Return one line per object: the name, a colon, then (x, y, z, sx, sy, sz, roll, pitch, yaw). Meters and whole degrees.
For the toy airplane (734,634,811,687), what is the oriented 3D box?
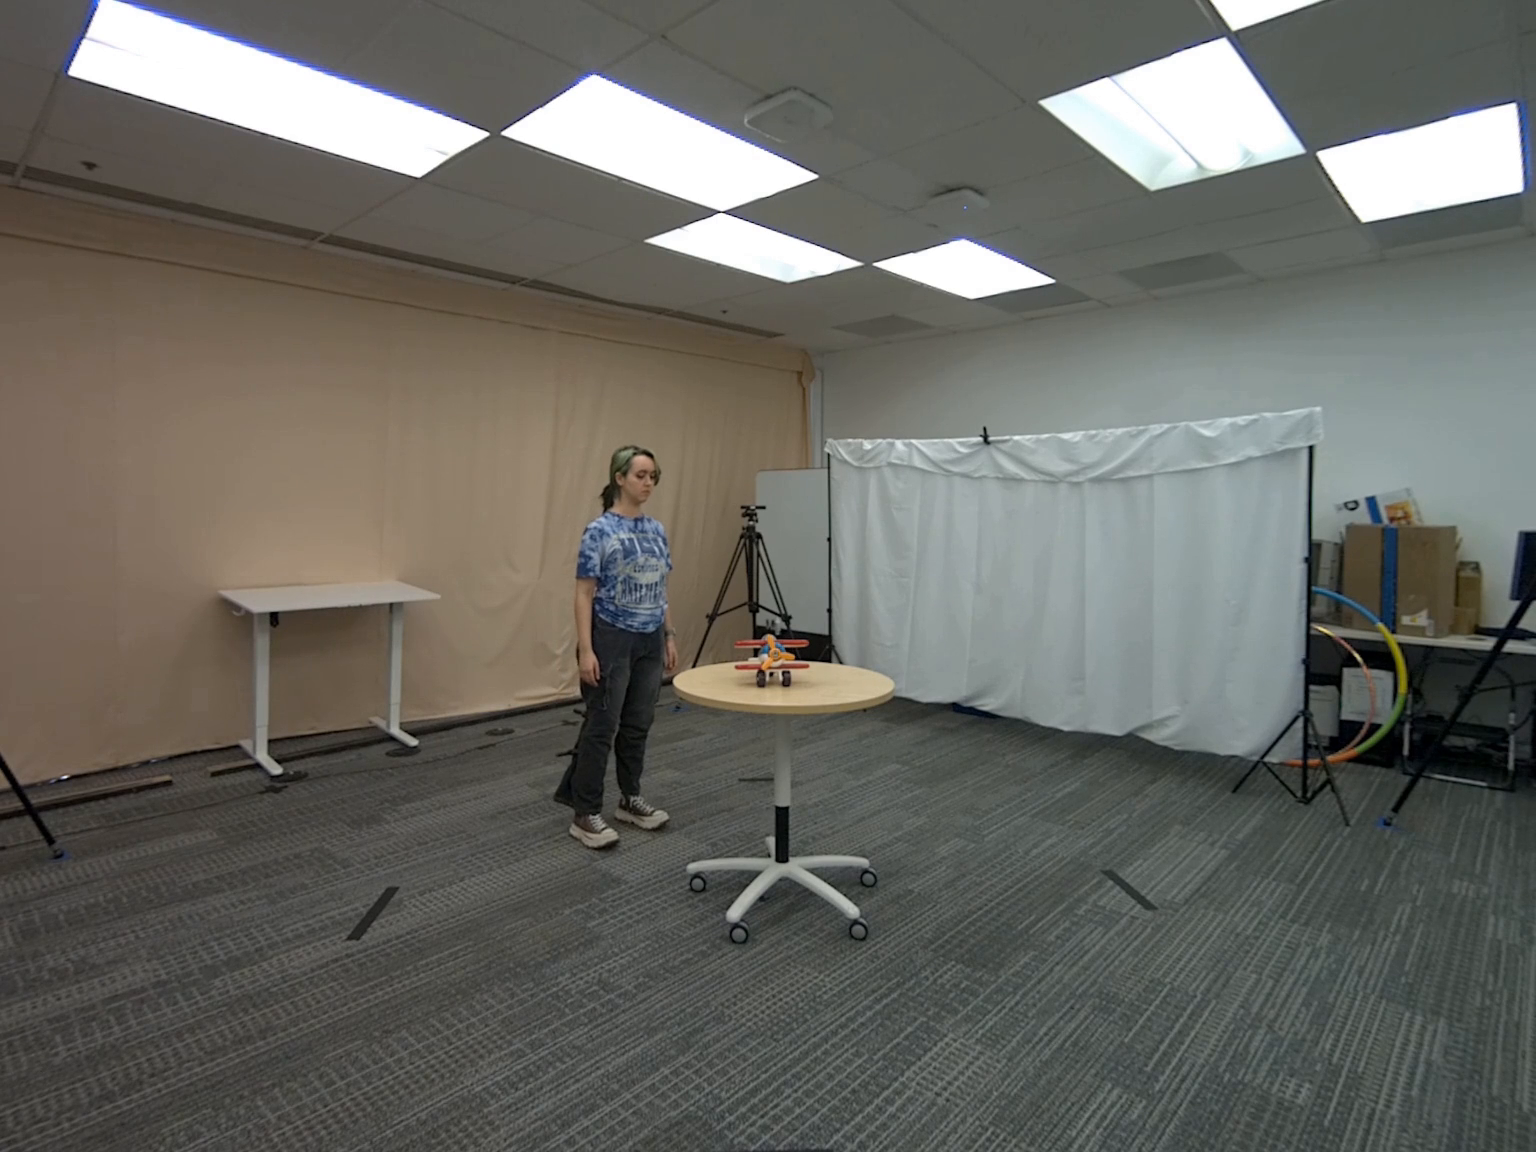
toy airplane: (-0.006, 0.289, 2.909, 0.244, 0.156, 0.268, -2, 6, -36)
